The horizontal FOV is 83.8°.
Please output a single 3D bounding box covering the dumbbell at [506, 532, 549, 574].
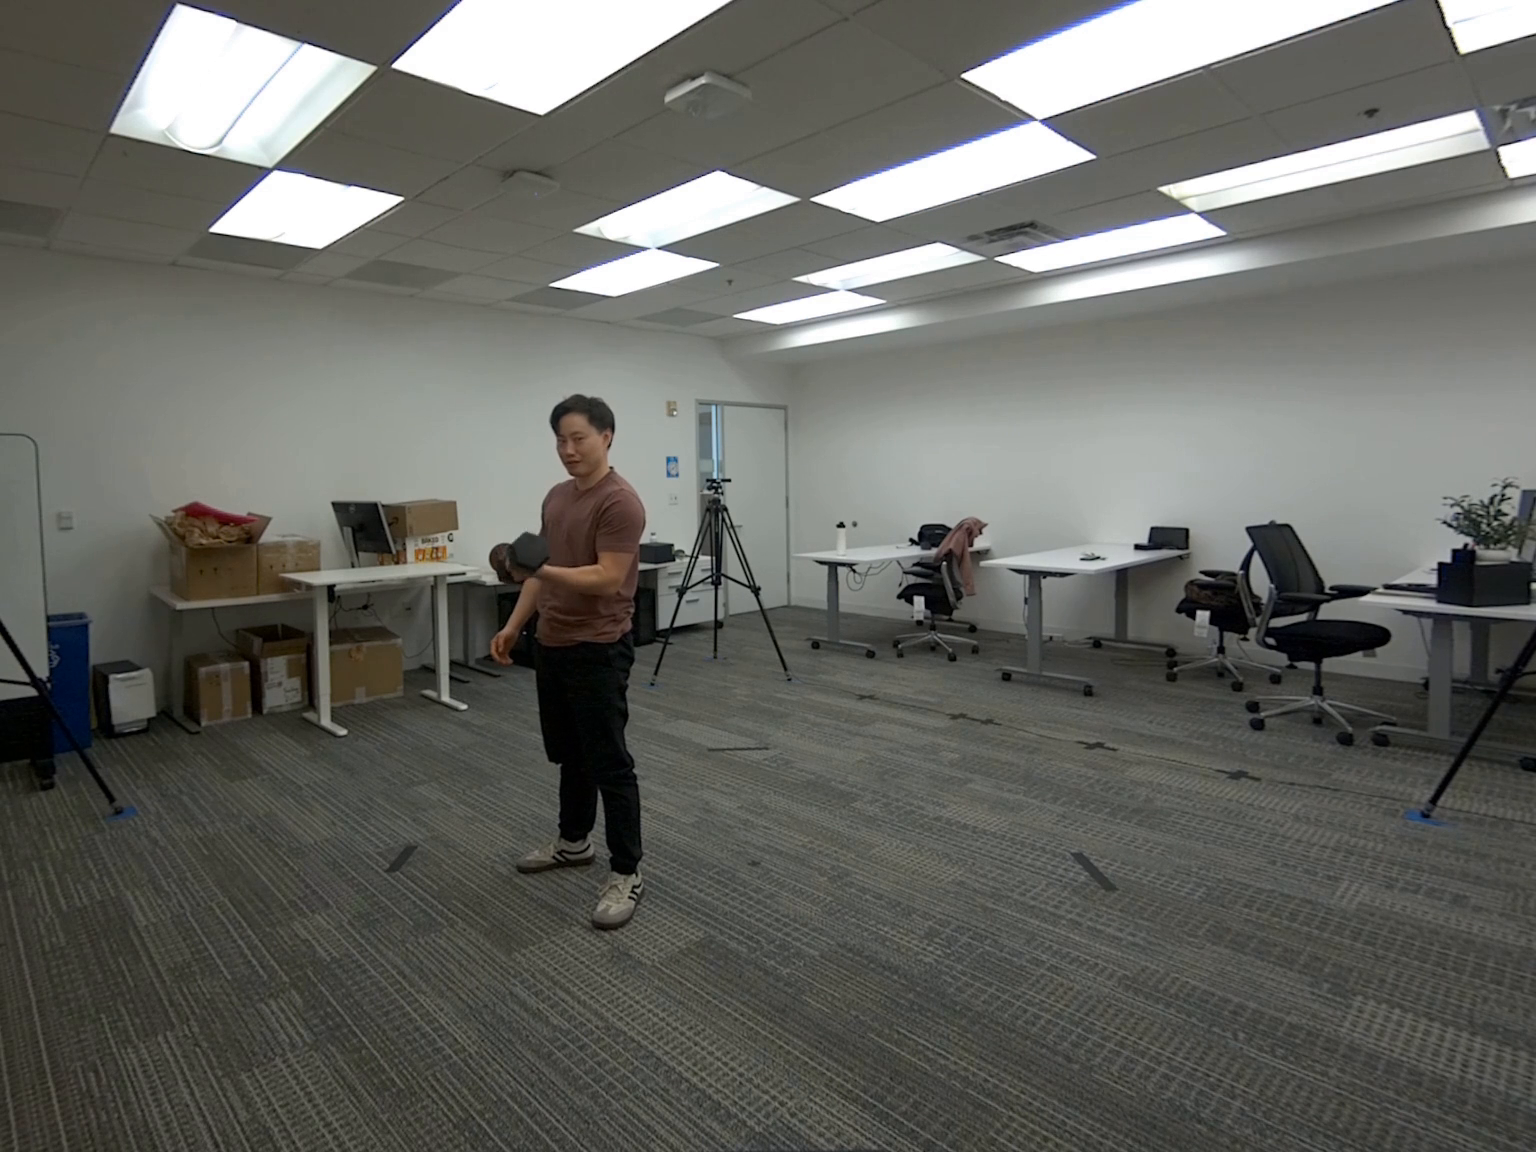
[{"bbox_3d":[-0.742,-0.044,2.574,0.123,0.107,0.297,-49,11,-25],"label":"dumbbell"}]
